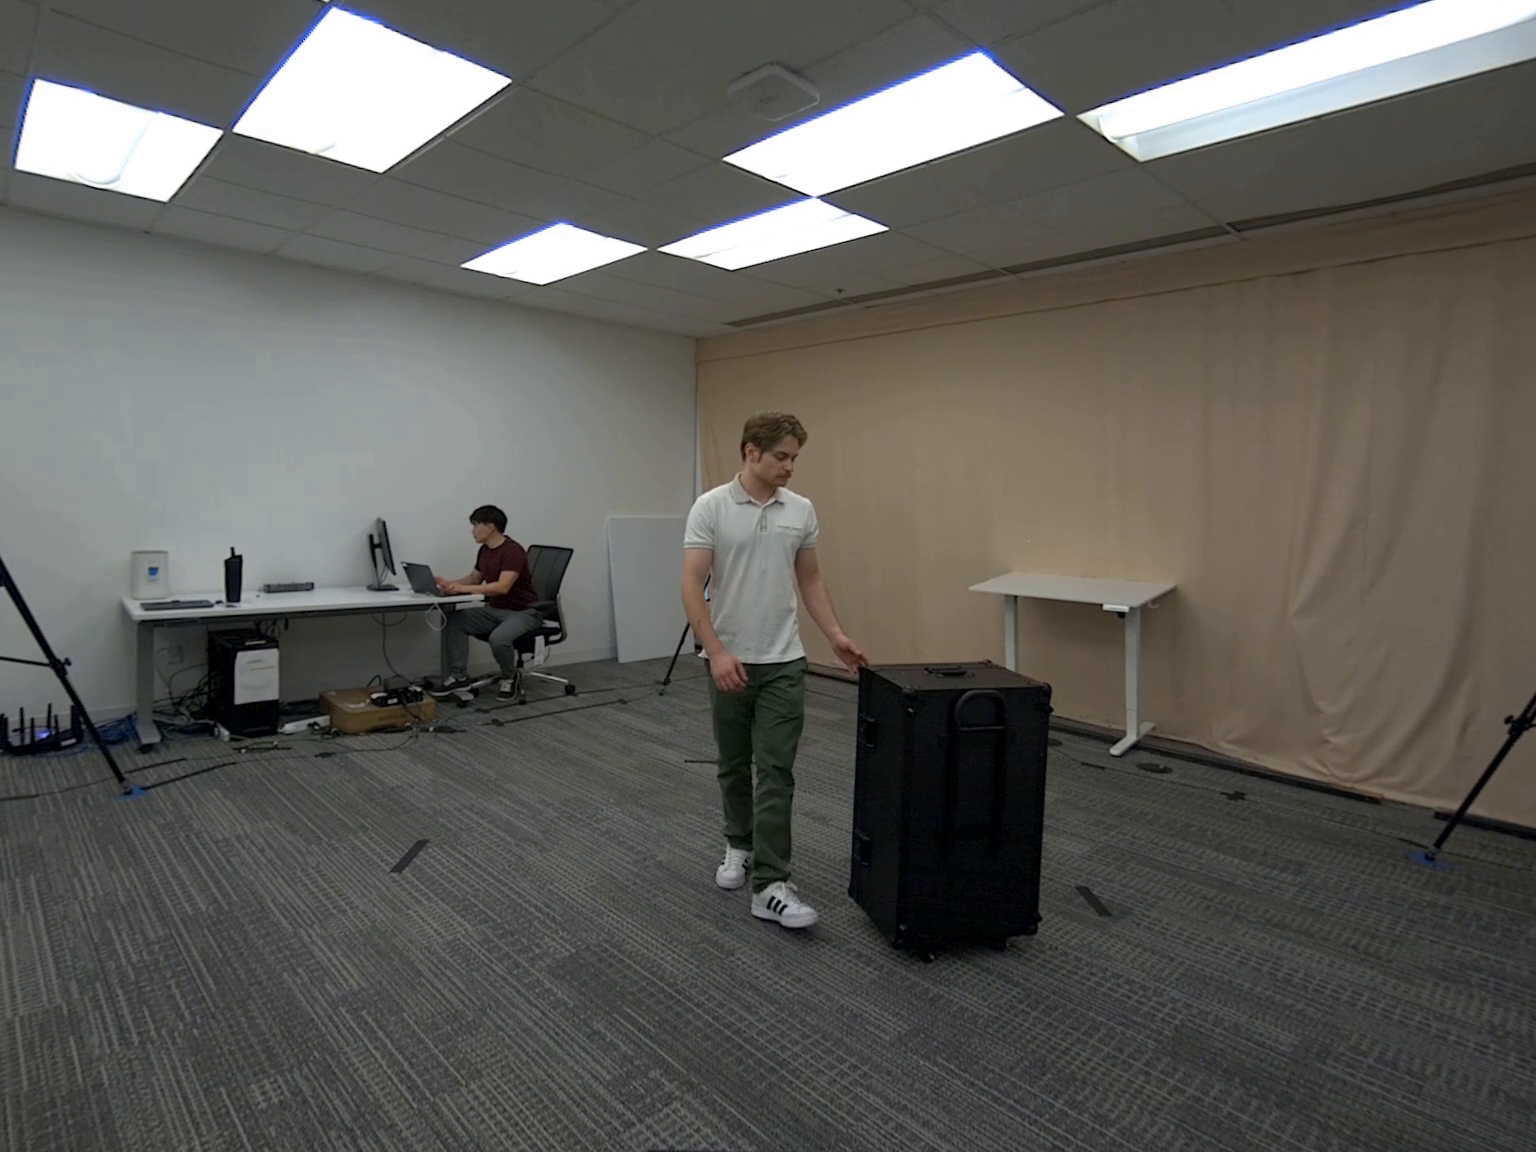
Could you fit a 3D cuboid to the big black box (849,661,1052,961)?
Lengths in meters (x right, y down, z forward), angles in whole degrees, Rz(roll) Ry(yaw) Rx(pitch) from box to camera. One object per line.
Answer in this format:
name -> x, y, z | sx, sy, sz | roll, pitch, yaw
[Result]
big black box -> 0.565, 0.740, 2.678 | 0.517, 0.866, 0.391 | 1, 4, -14
